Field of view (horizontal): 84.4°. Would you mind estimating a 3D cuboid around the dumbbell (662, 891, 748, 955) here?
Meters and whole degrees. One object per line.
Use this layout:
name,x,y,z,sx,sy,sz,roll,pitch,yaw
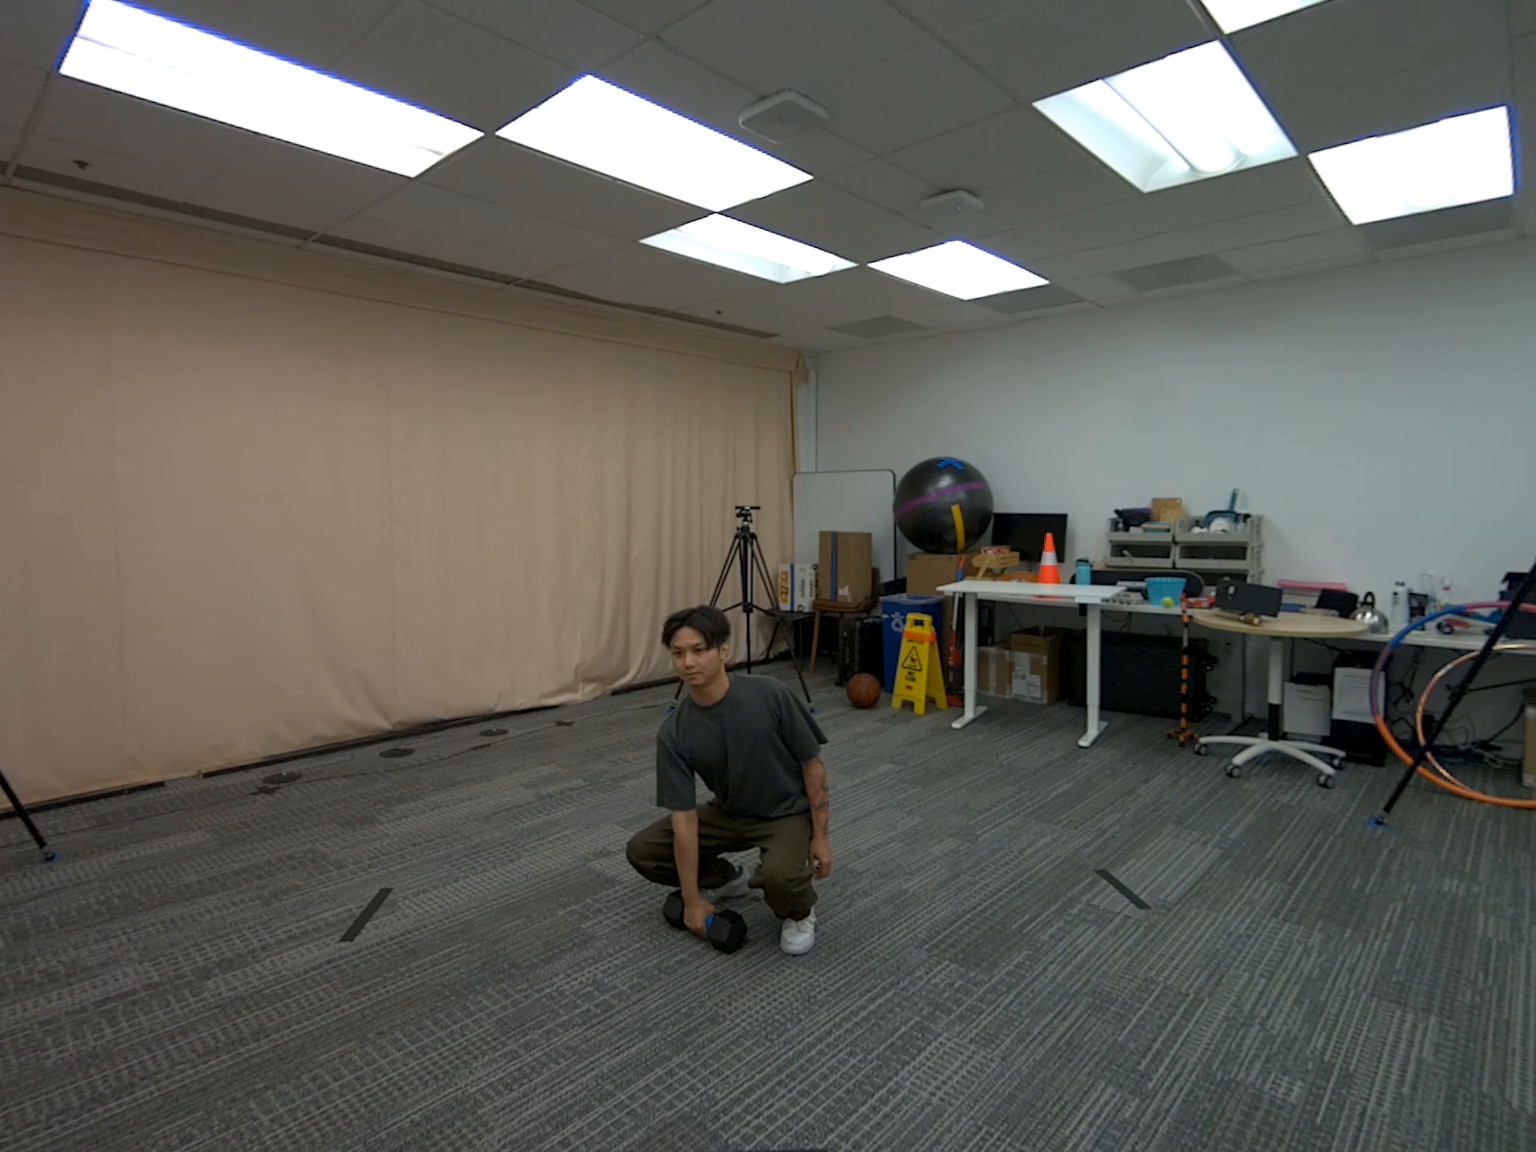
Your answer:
dumbbell,-0.204,1.112,2.729,0.303,0.120,0.107,3,35,42
